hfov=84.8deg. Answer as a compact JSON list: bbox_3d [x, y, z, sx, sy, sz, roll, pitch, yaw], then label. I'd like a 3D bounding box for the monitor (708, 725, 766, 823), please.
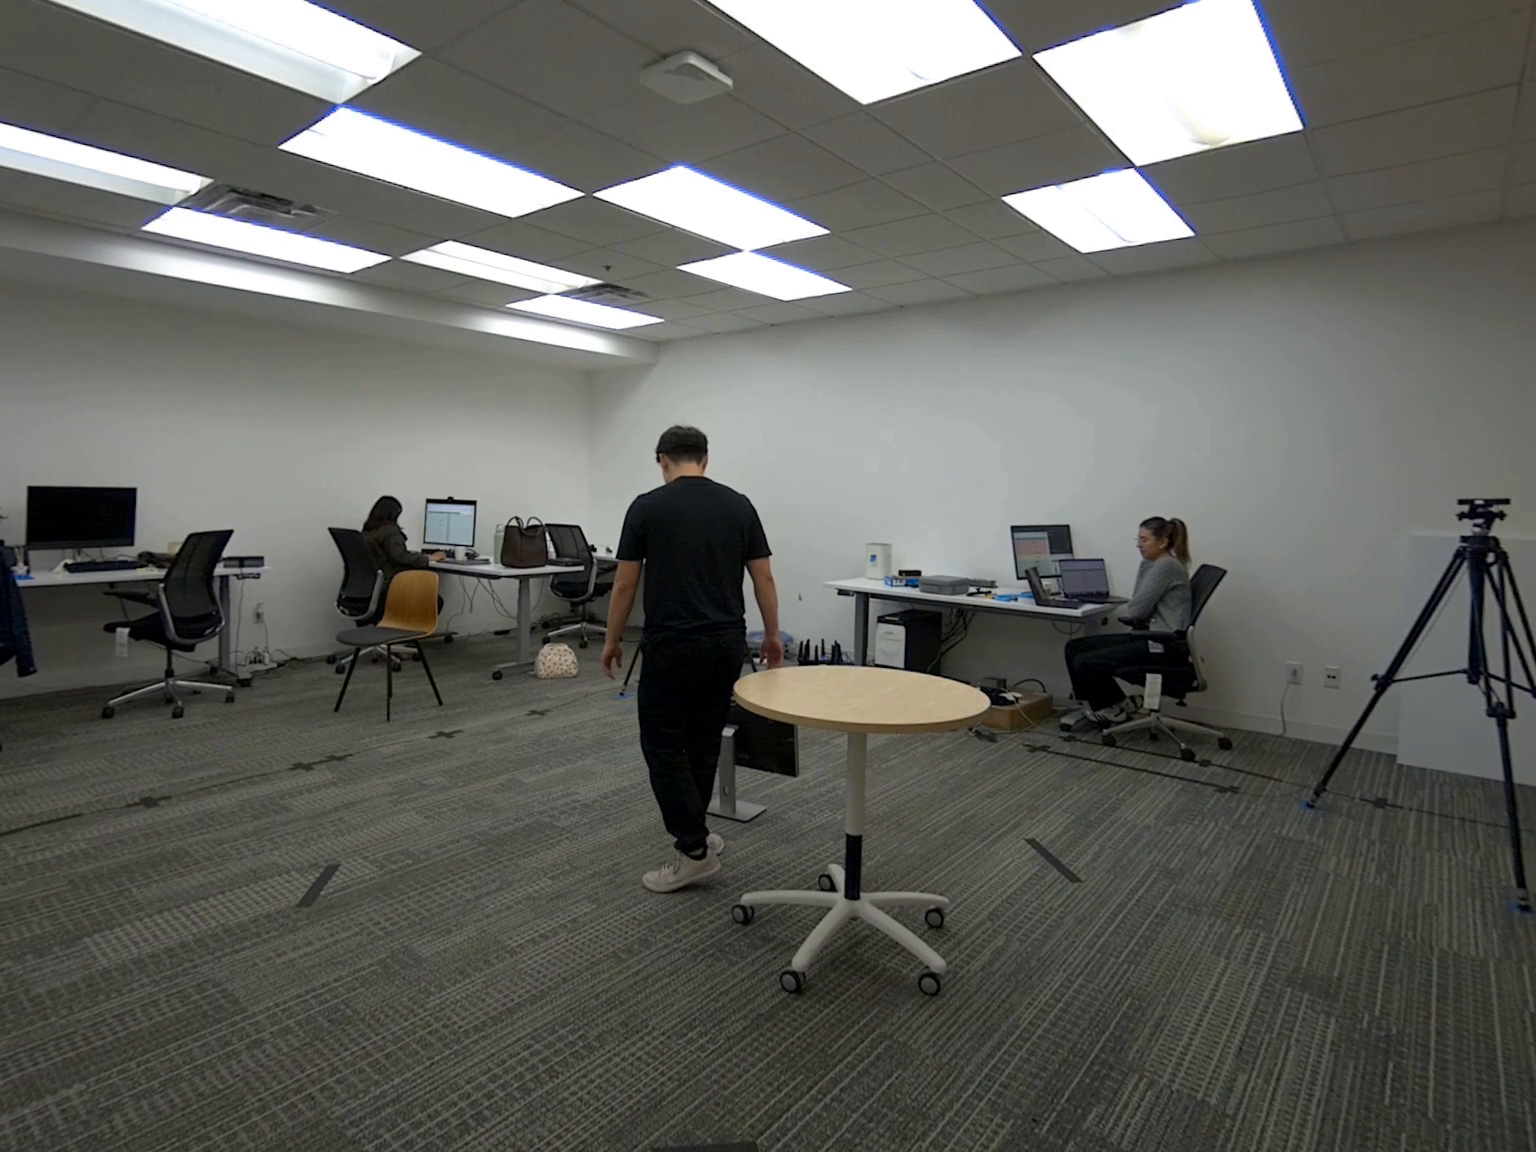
[{"bbox_3d":[-0.156,0.753,3.685,0.554,0.521,0.182,5,2,27],"label":"monitor"}]
